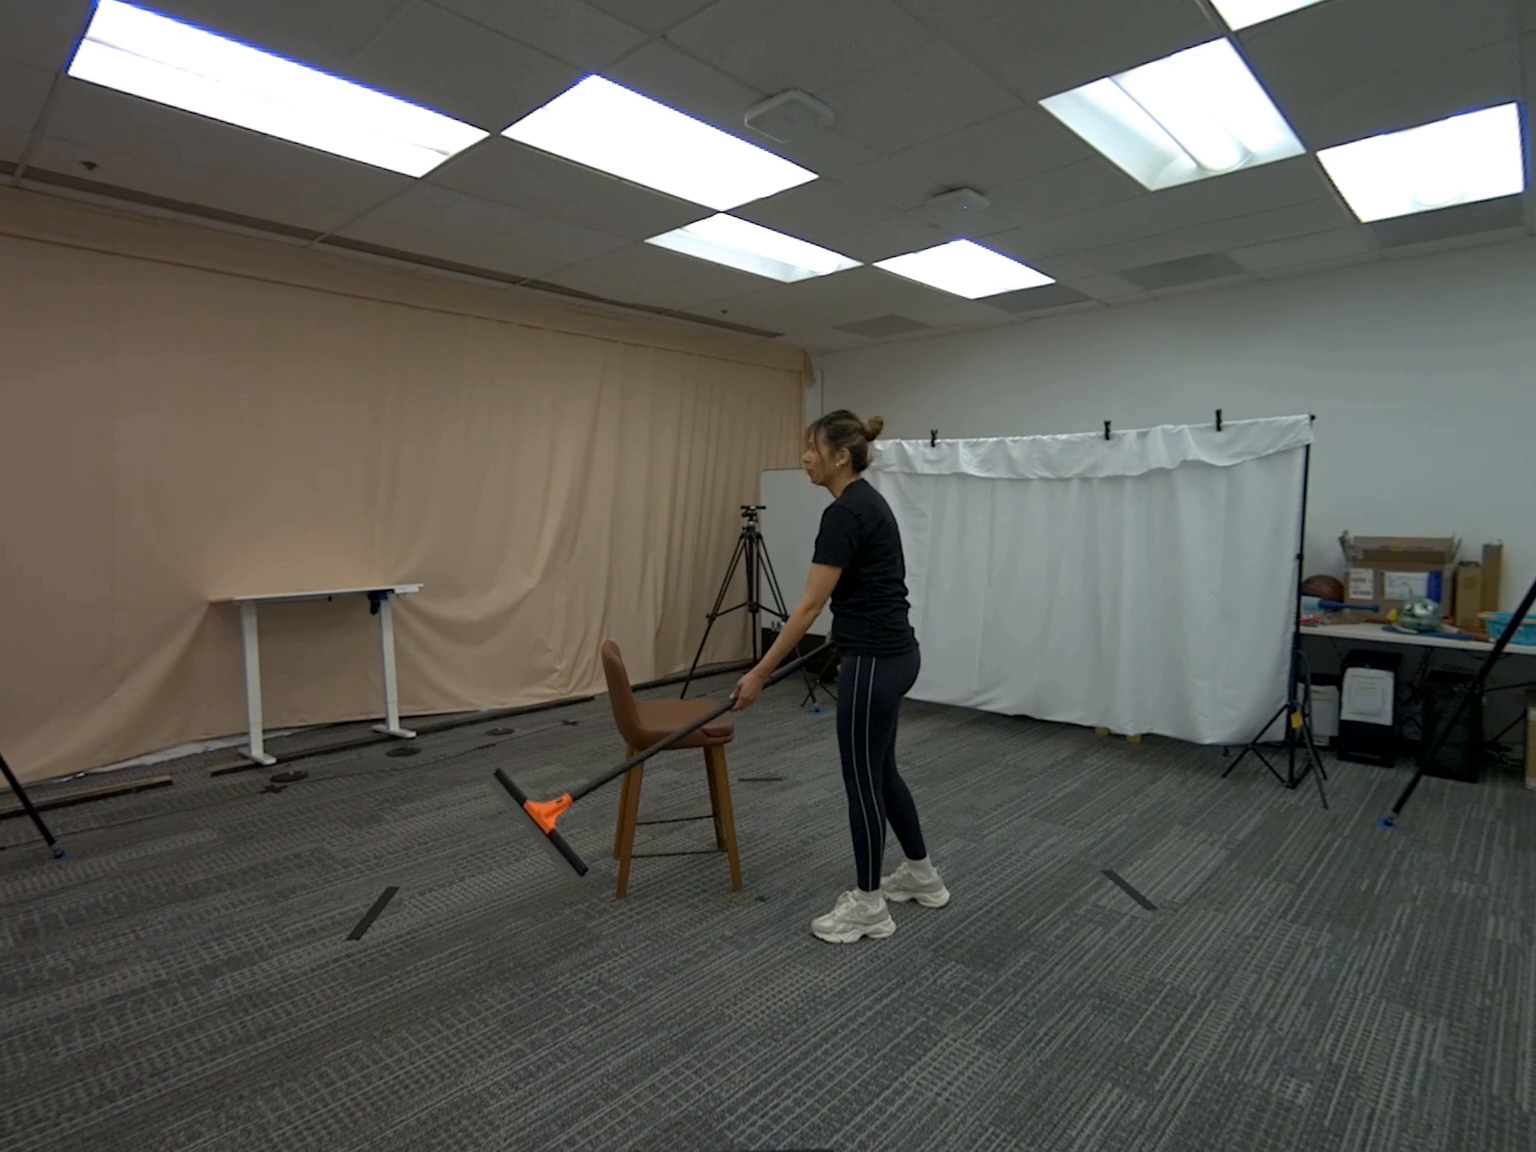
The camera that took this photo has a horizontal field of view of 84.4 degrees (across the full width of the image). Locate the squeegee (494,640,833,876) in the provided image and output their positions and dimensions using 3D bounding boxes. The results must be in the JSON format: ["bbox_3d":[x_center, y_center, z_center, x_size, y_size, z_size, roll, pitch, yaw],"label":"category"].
[{"bbox_3d":[-0.068,0.357,2.651,1.507,0.052,0.453,-27,40,-37],"label":"squeegee"}]
